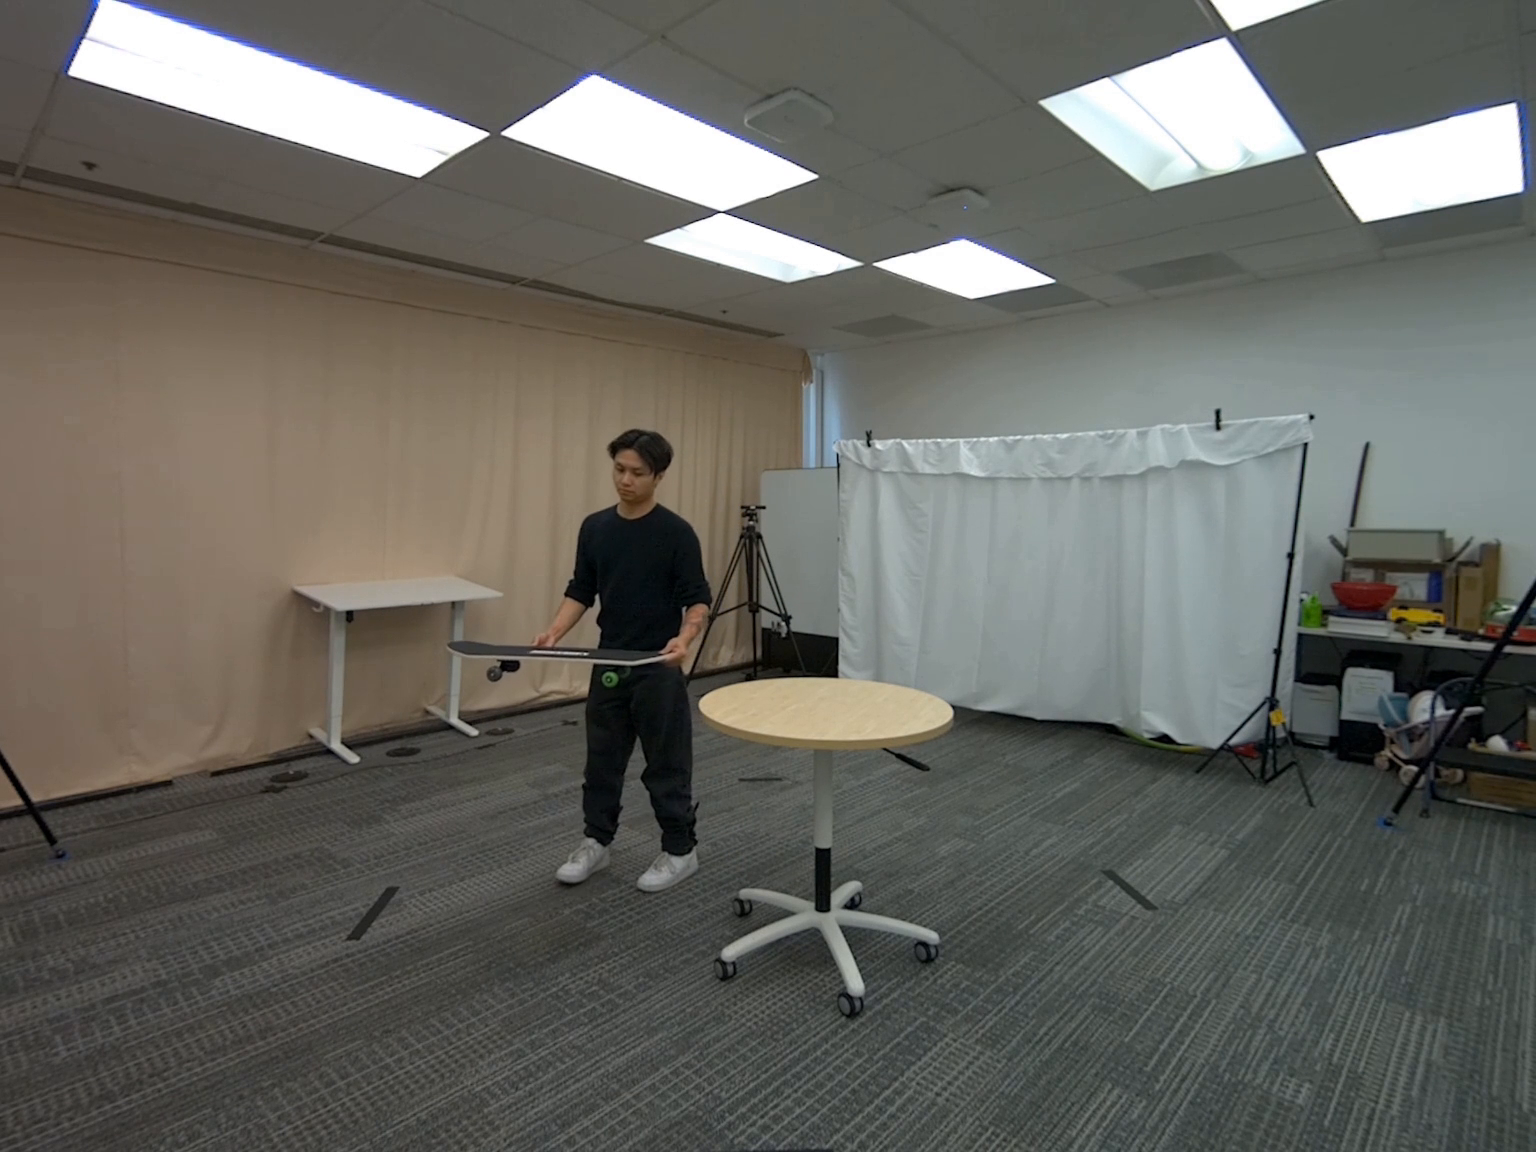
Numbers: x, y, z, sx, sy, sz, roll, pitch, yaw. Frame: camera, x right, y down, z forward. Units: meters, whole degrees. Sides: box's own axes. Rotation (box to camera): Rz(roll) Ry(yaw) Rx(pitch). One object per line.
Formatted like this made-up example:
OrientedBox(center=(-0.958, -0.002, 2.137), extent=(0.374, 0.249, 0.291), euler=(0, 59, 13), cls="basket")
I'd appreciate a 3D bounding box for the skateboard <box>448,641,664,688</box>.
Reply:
OrientedBox(center=(-0.688, 0.297, 2.839), extent=(0.795, 0.110, 0.192), euler=(1, 4, 10), cls="skateboard")
